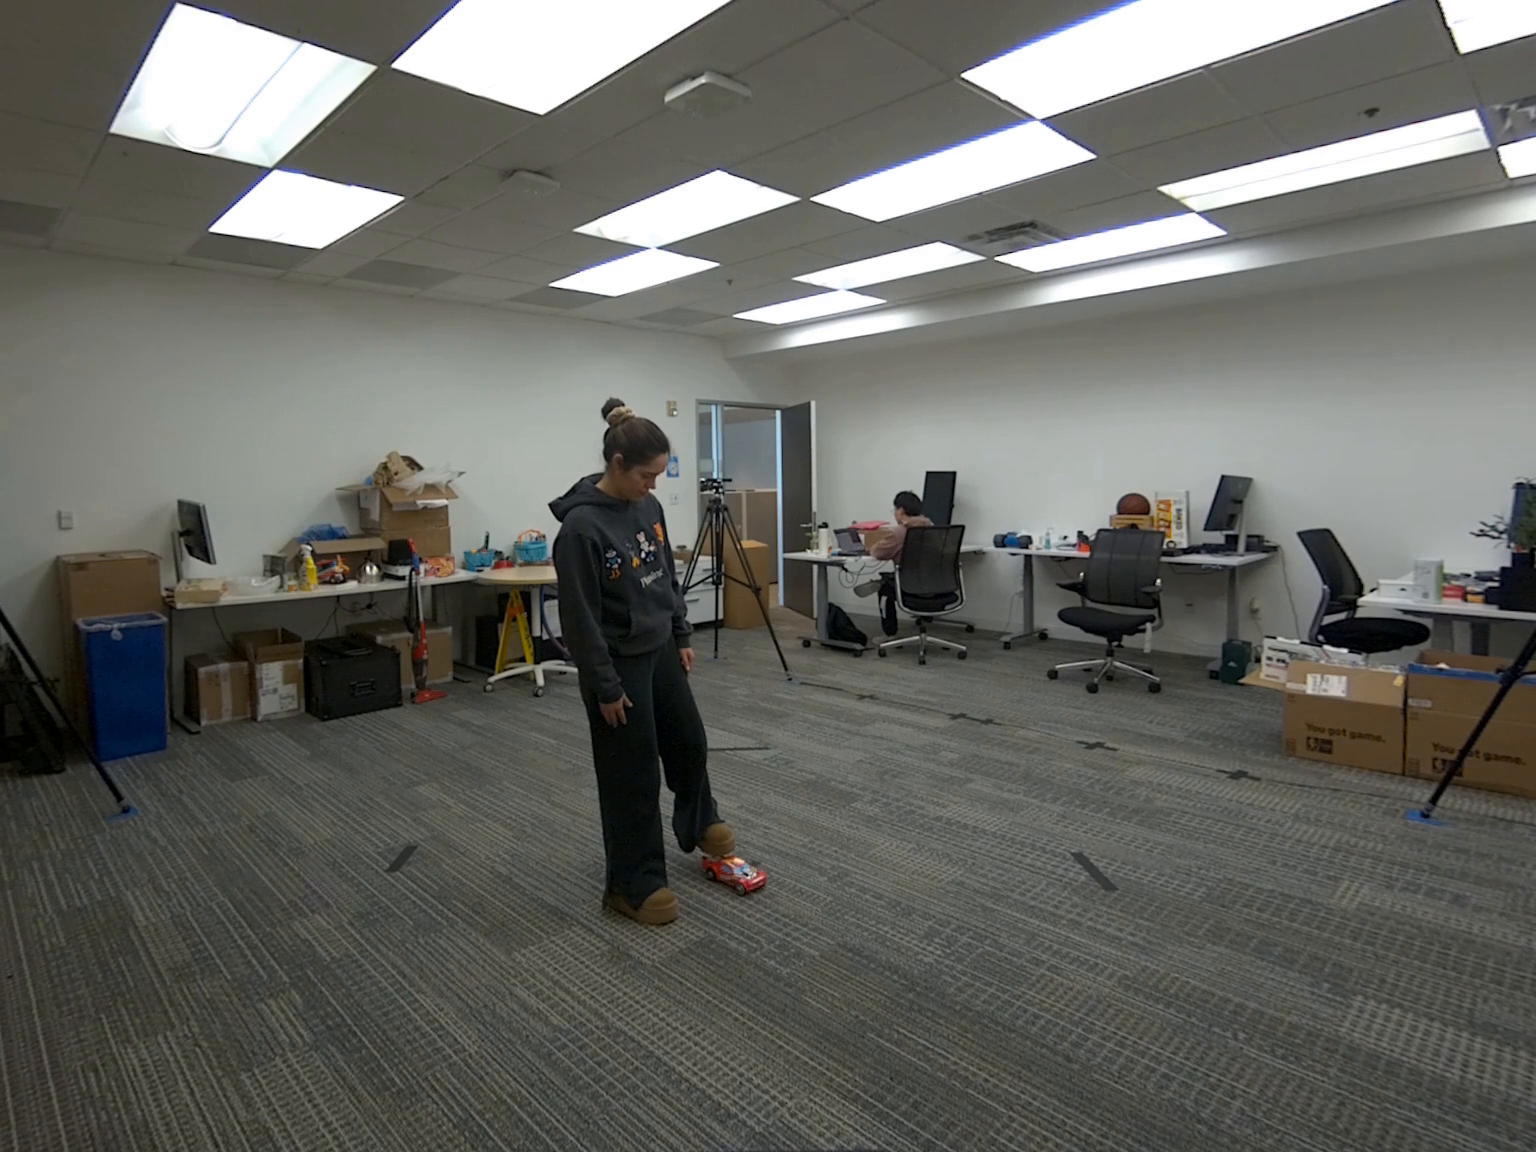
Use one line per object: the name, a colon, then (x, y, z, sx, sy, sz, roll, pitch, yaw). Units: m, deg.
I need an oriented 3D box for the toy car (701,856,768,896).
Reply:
toy car: (-0.124, 1.031, 2.961, 0.127, 0.082, 0.264, -6, 18, -44)
